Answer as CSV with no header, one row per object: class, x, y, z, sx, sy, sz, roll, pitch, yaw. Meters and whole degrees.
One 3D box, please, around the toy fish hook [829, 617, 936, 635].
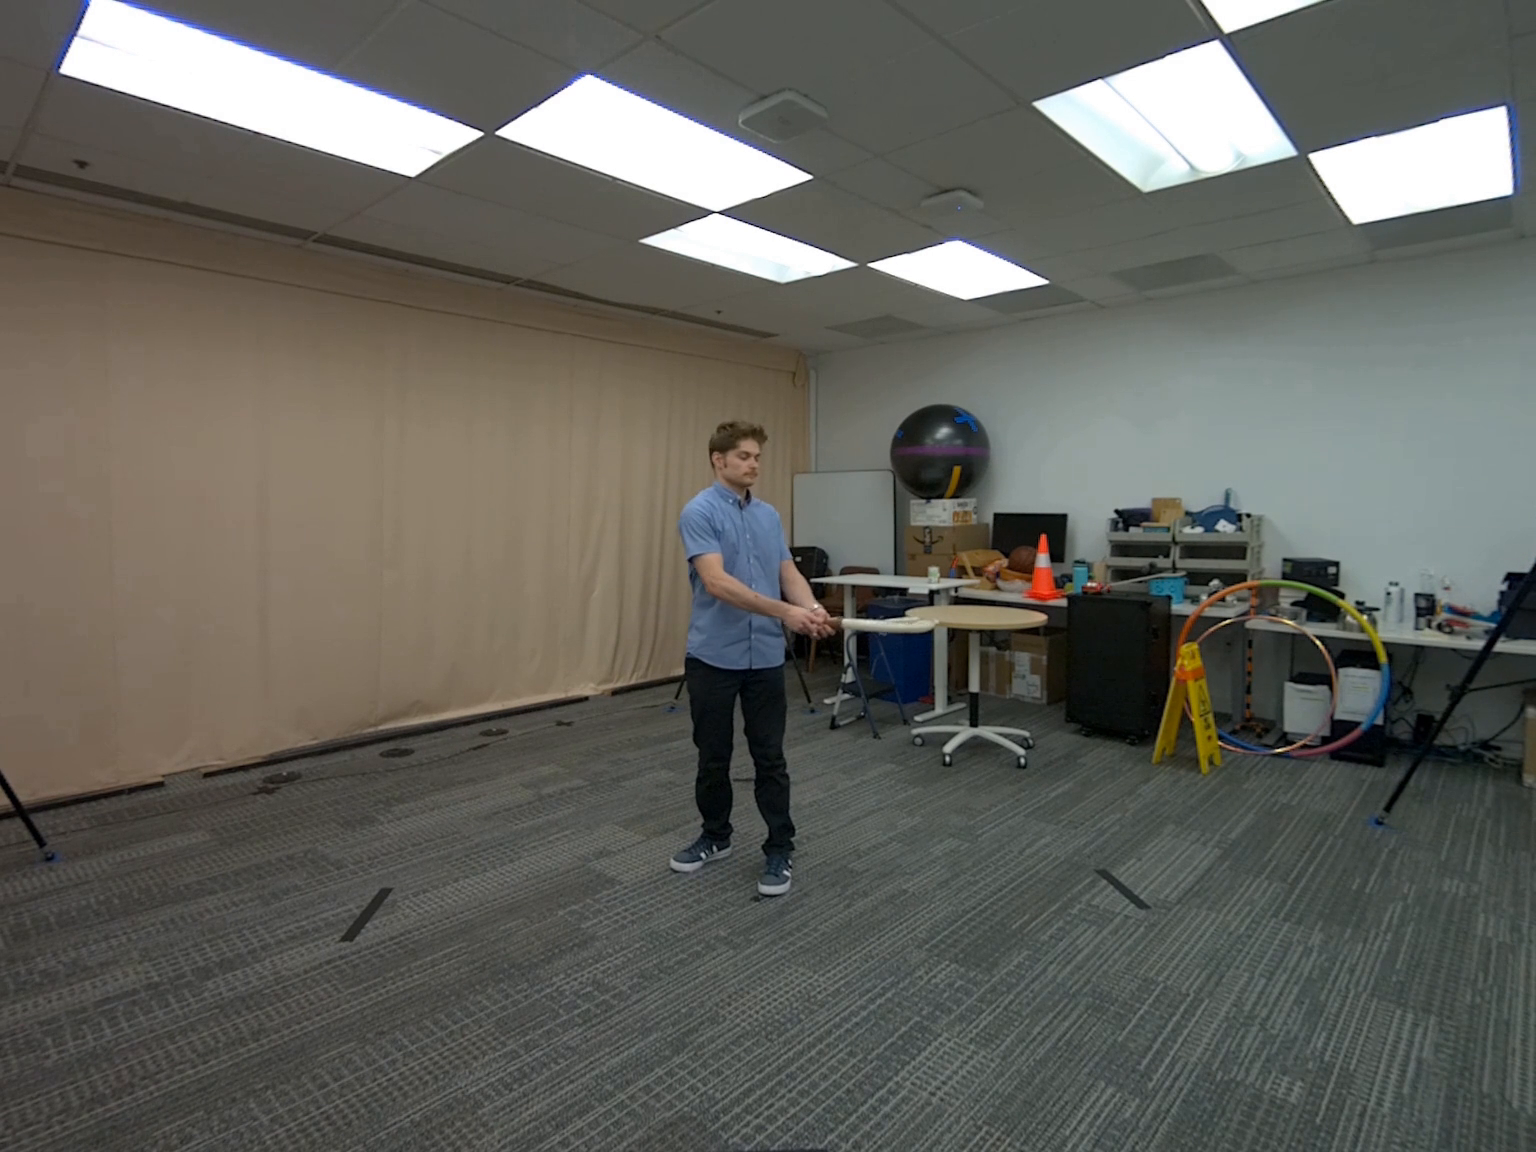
toy fish hook,0.309,0.163,2.925,0.519,0.048,0.219,0,0,23
